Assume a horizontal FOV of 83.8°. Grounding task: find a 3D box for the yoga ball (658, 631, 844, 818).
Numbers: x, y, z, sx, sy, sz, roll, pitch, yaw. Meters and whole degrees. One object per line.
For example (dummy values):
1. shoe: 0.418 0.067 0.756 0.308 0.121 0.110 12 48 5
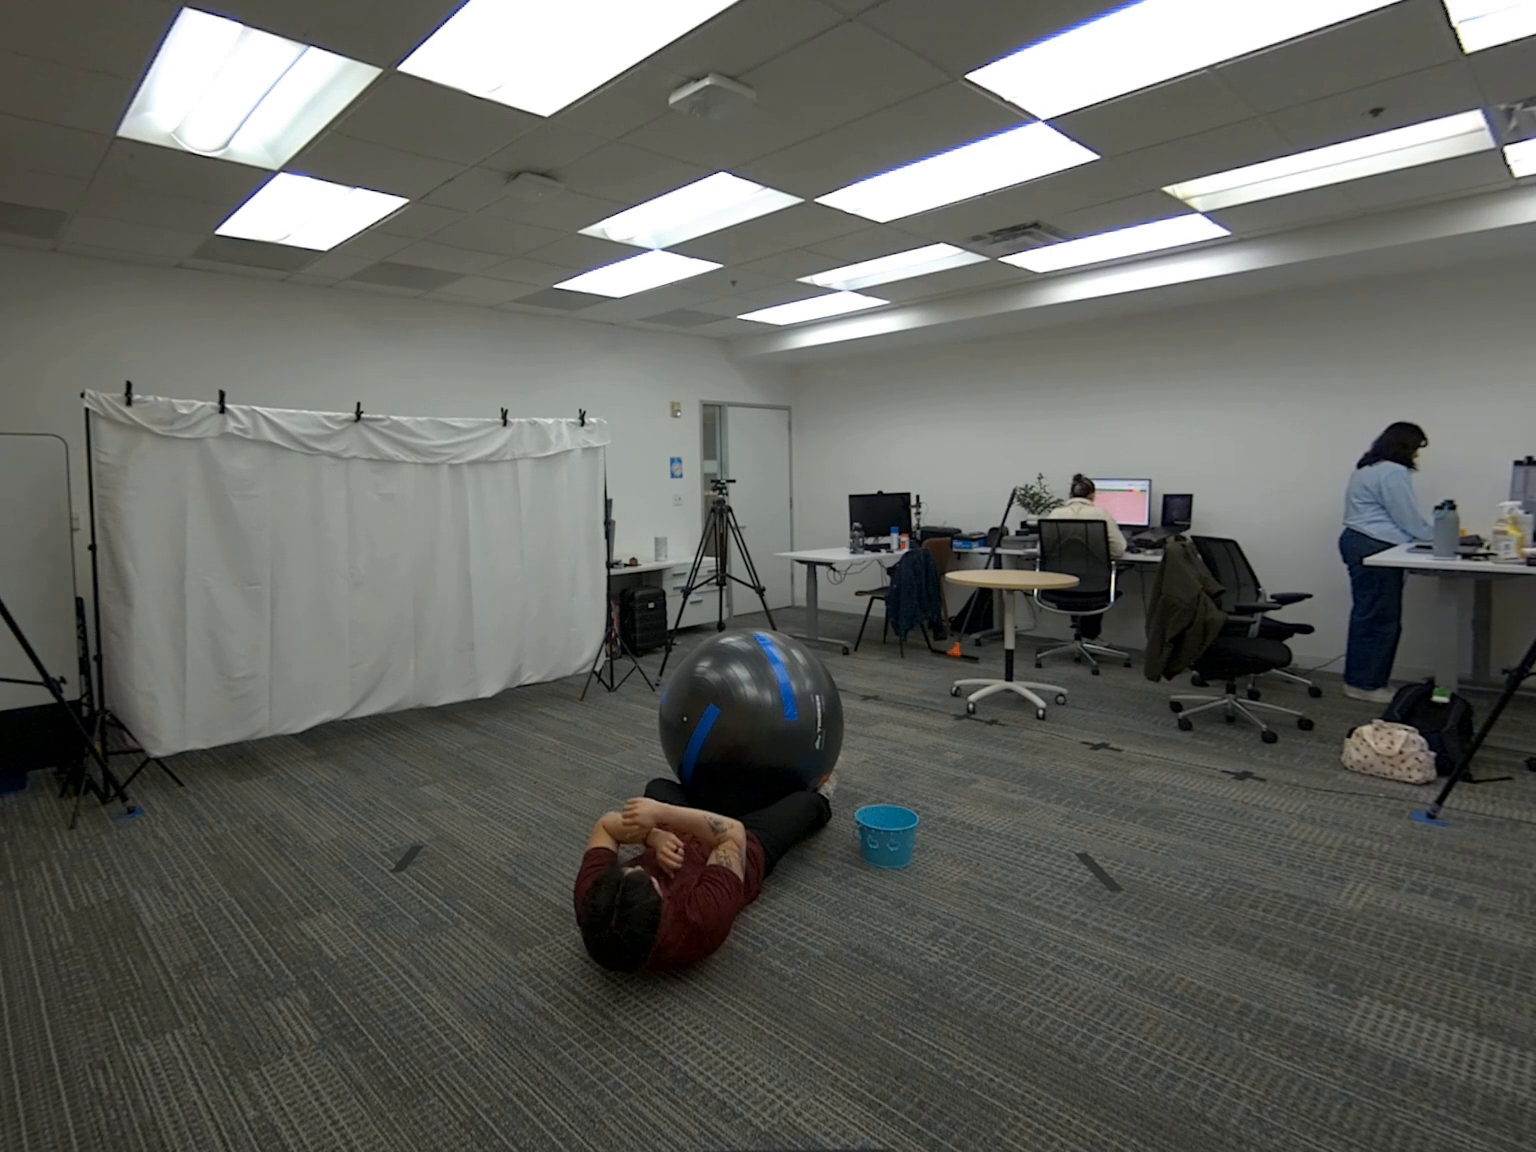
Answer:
1. yoga ball: -0.073 0.592 3.510 0.757 0.755 0.762 -1 5 -2
